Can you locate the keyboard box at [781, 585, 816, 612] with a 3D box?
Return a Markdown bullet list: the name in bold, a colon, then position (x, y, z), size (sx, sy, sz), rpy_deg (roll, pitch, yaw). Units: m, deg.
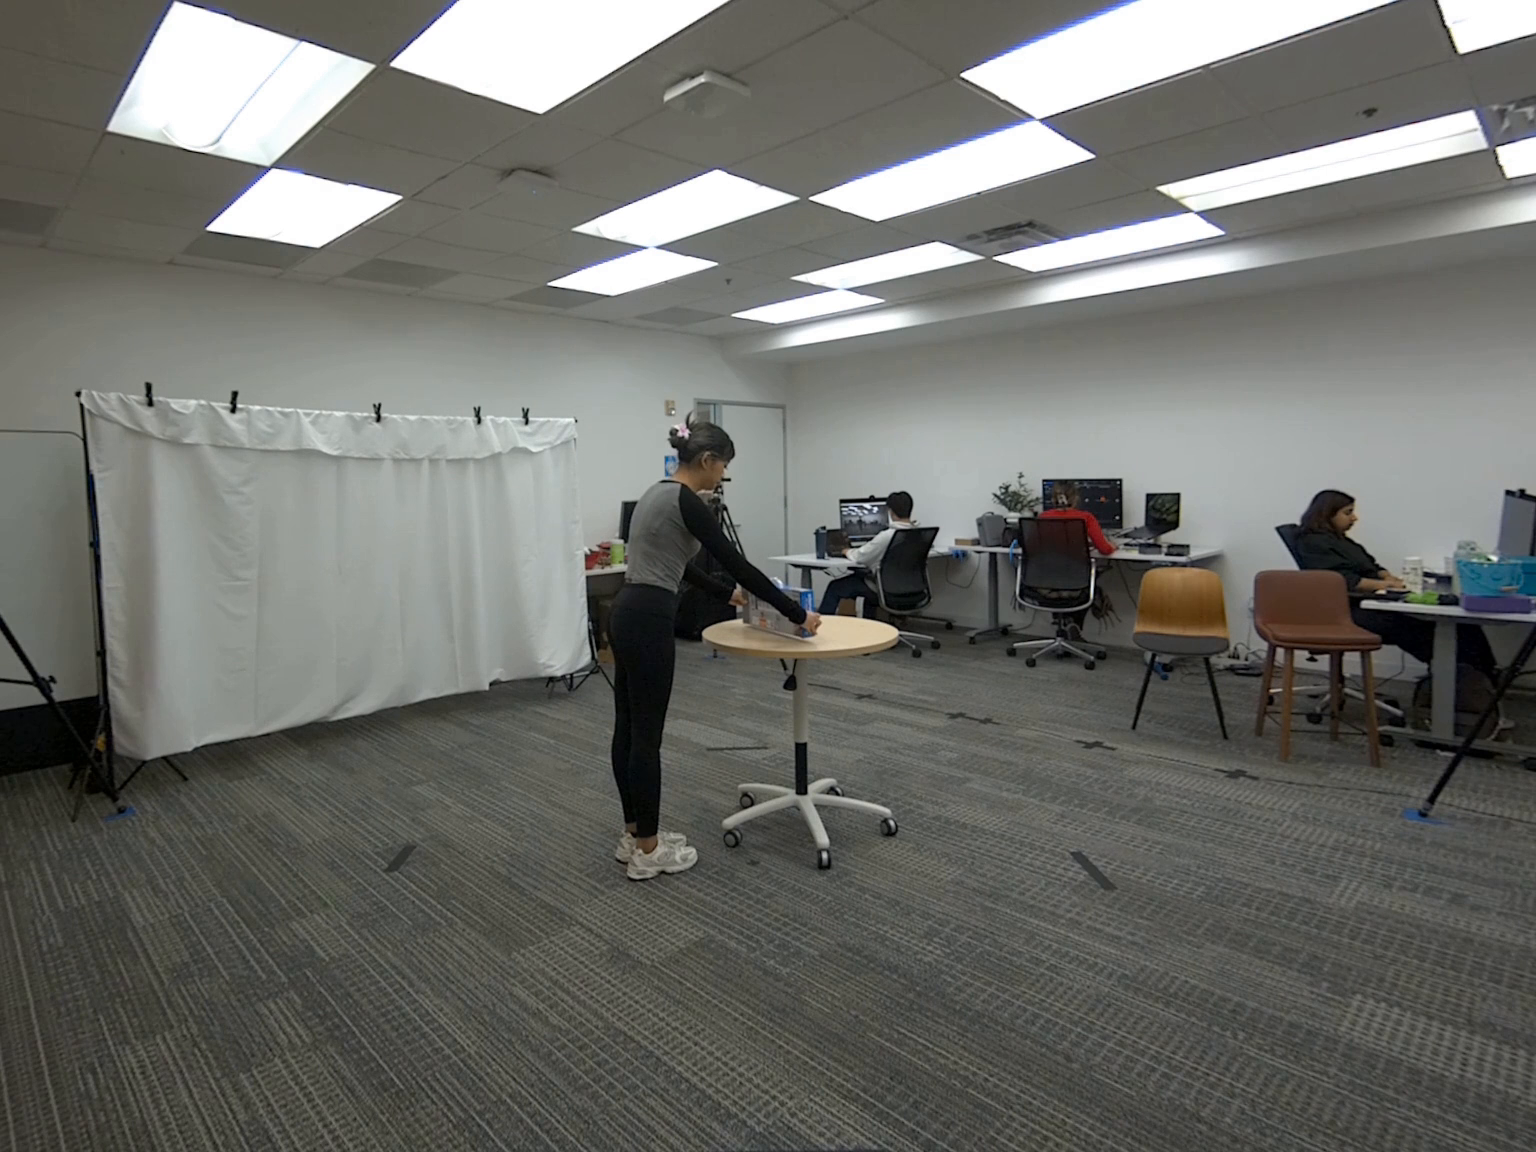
- **keyboard box**: position (0.033, 0.125, 3.303), size (0.058, 0.175, 0.449), rpy_deg (-7, 7, -31)
